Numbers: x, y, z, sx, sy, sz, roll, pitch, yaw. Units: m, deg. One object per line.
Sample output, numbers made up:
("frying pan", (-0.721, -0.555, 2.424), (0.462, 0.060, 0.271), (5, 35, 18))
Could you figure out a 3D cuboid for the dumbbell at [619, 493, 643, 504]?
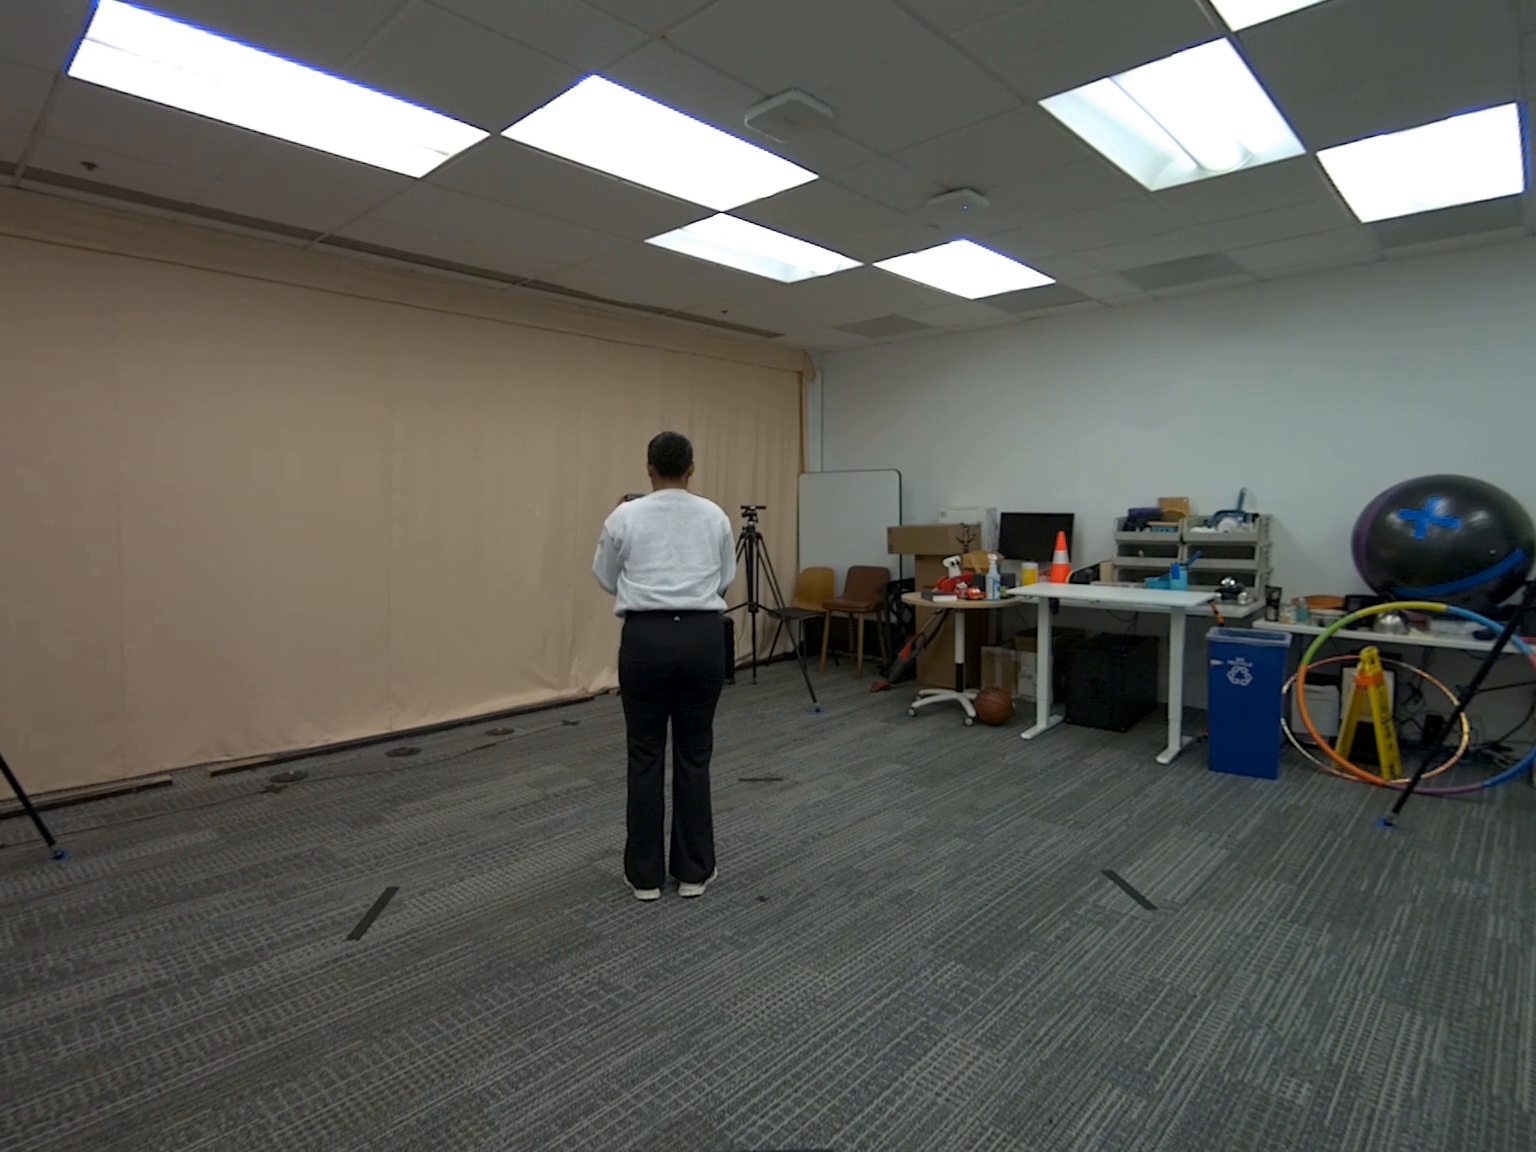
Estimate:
("dumbbell", (-0.414, -0.242, 3.269), (0.292, 0.121, 0.110), (4, 26, -4))
